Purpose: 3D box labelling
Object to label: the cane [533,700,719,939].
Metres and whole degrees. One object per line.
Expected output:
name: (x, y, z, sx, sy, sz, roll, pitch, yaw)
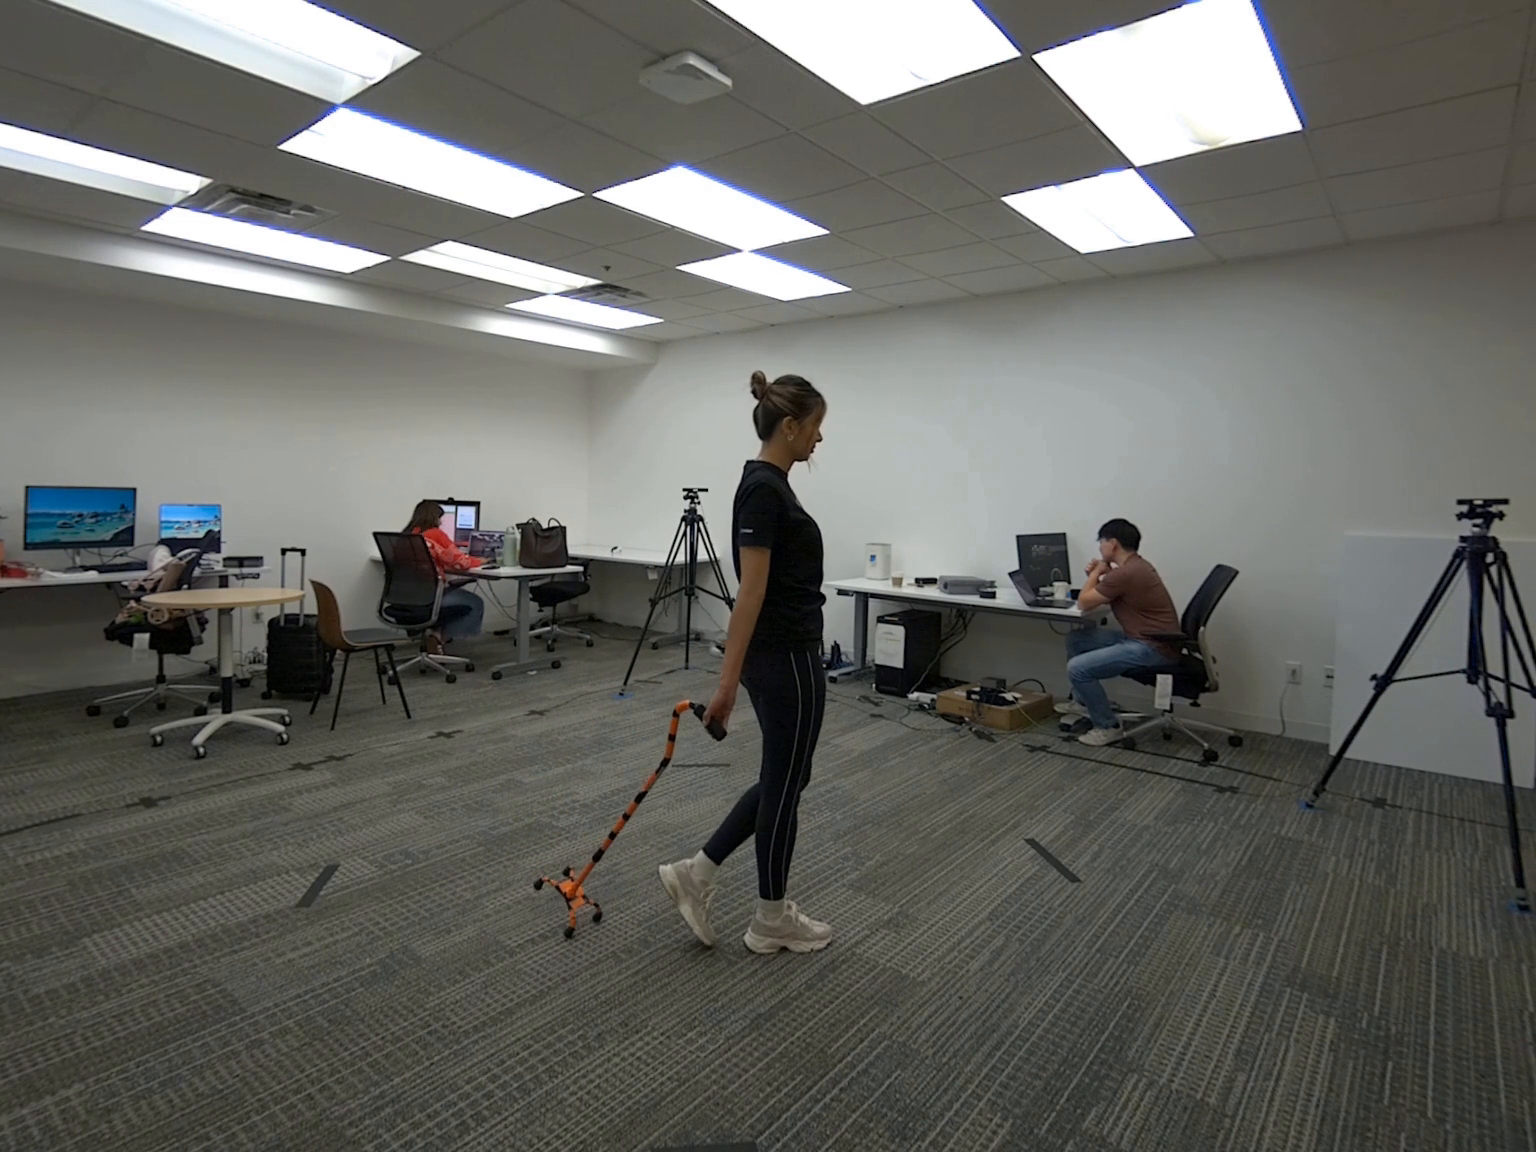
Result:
cane: (-0.428, 0.704, 2.528, 0.214, 0.903, 0.147, 46, 28, 26)
